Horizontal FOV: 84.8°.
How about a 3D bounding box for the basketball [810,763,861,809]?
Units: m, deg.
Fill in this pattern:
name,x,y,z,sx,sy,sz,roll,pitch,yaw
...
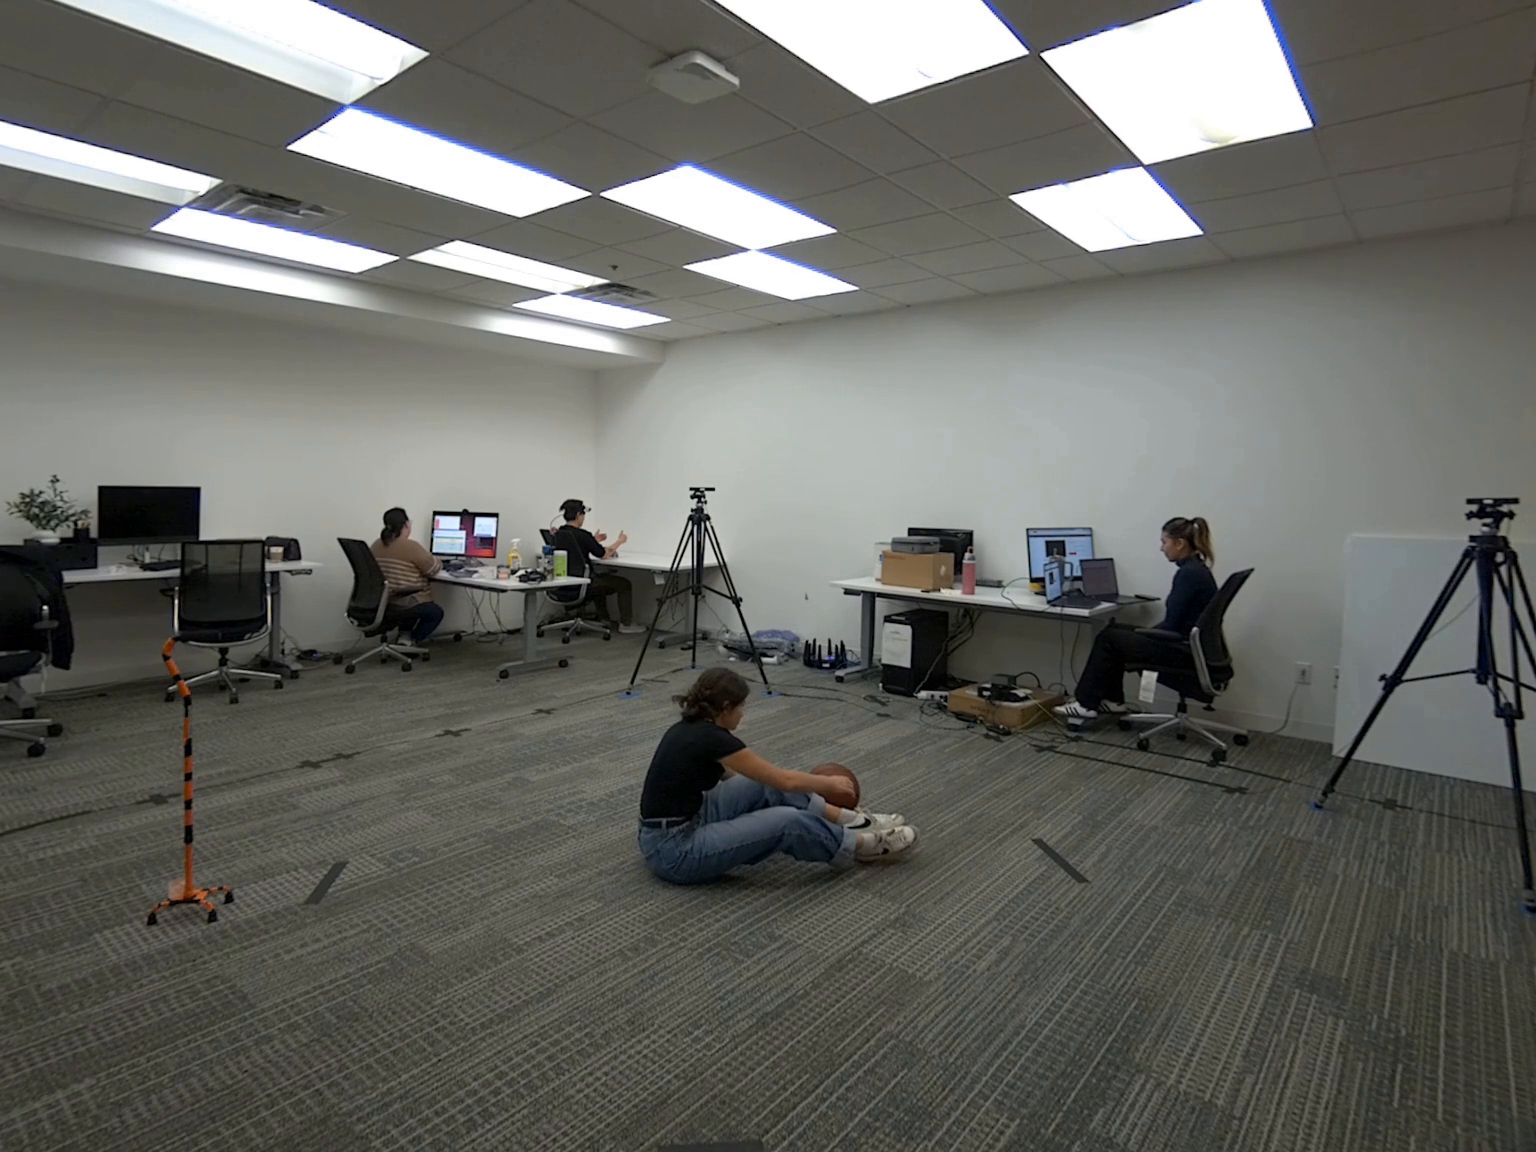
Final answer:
name,x,y,z,sx,sy,sz,roll,pitch,yaw
basketball,0.260,0.905,3.594,0.235,0.235,0.237,1,4,-2
